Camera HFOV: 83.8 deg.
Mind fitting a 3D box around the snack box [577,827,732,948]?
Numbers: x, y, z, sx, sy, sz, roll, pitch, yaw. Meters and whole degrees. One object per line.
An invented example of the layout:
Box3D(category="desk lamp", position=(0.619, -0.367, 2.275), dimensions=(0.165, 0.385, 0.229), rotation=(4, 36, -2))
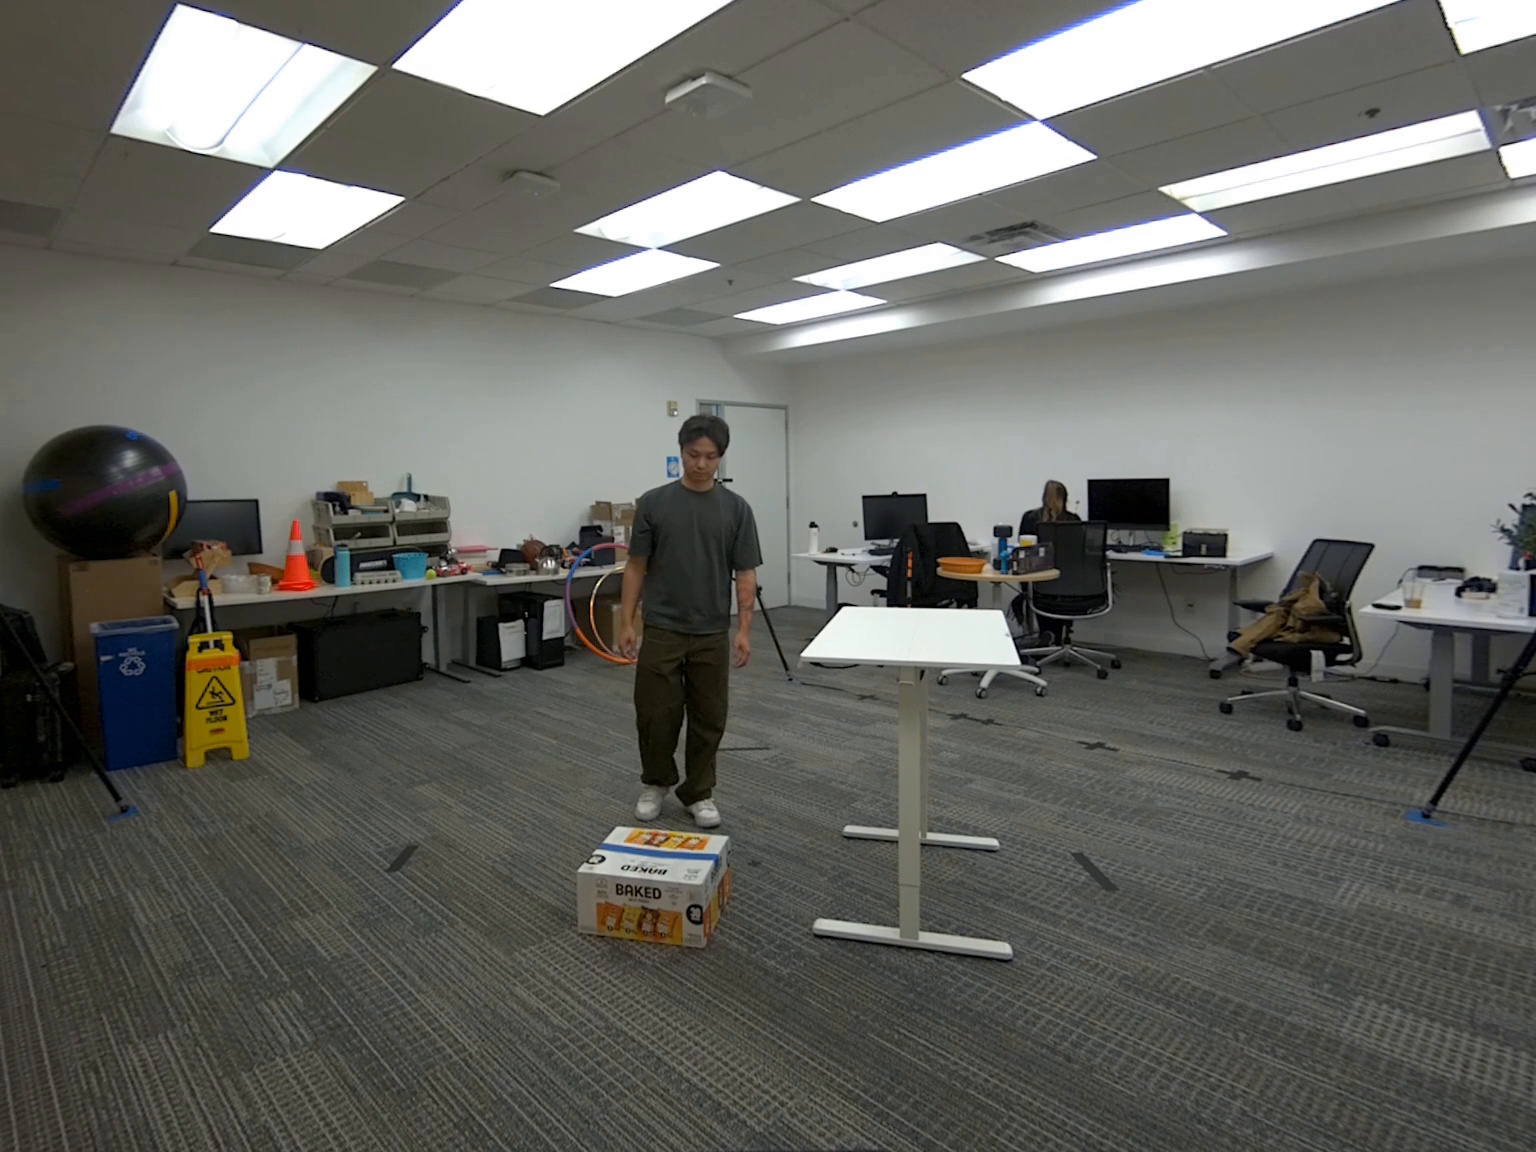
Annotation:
Box3D(category="snack box", position=(-0.358, 0.993, 2.749), dimensions=(0.410, 0.205, 0.337), rotation=(1, 6, 13))
